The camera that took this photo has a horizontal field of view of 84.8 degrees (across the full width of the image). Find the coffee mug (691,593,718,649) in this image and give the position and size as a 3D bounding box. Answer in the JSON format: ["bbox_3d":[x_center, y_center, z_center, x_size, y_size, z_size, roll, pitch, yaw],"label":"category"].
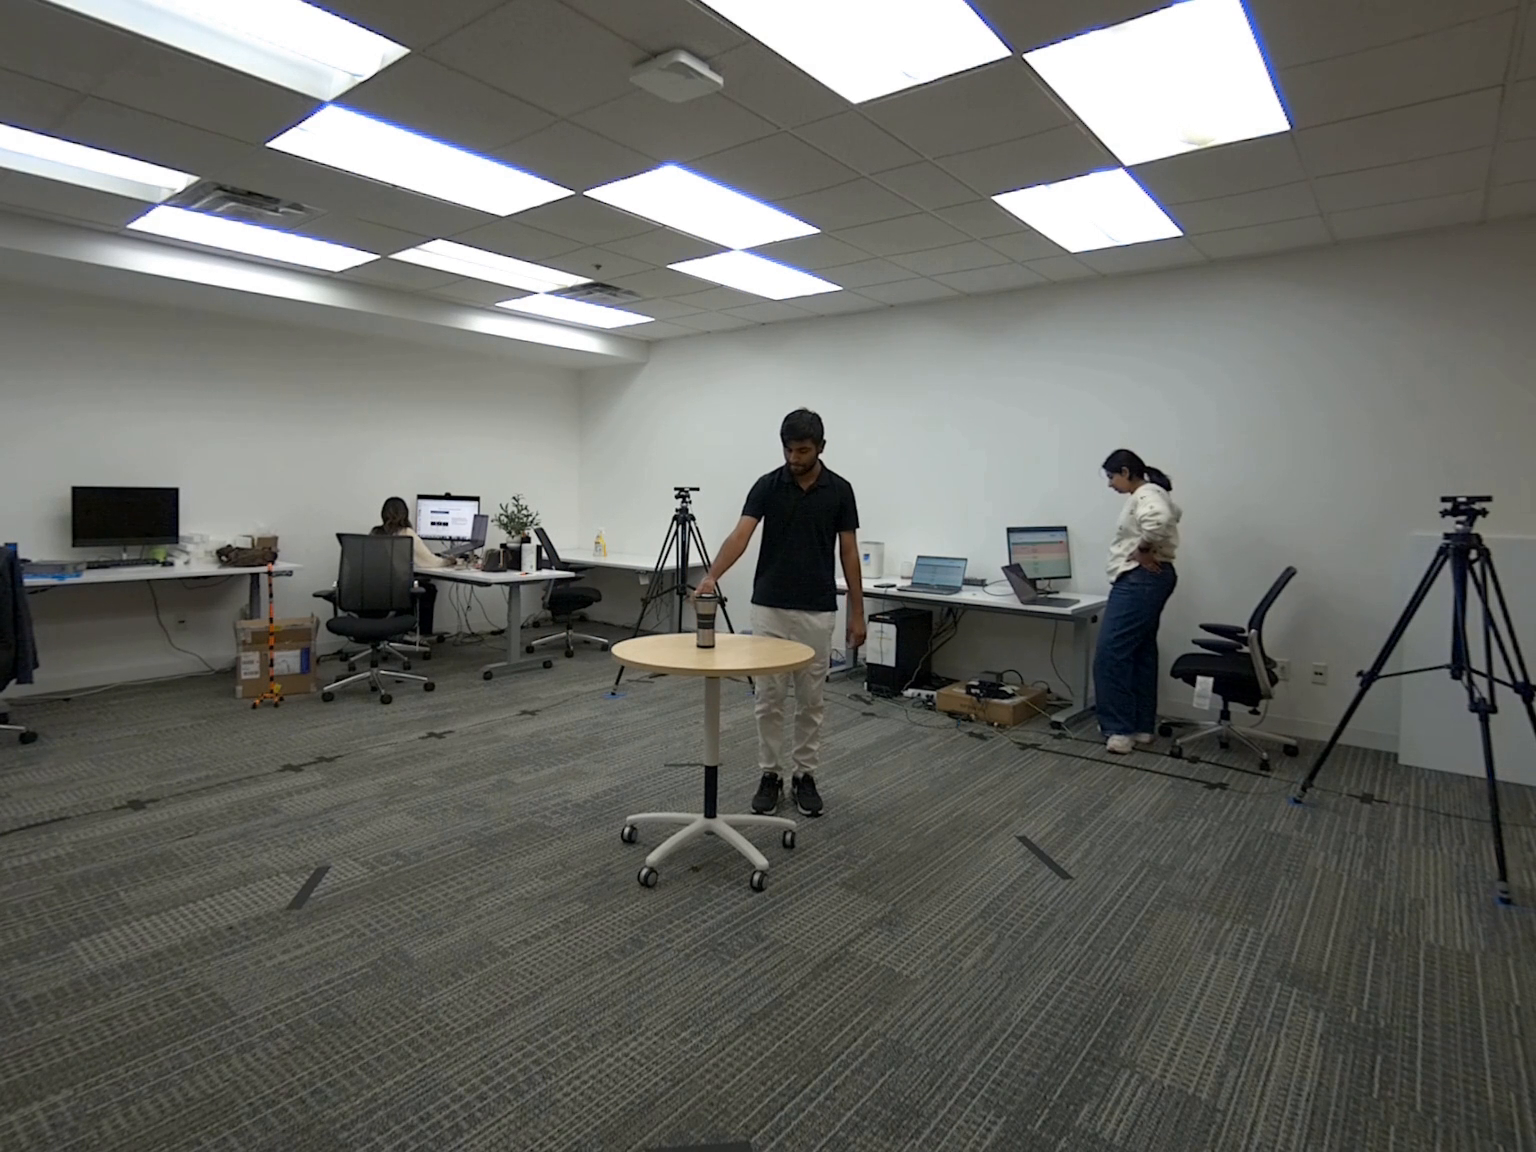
[{"bbox_3d":[-0.238,0.170,3.278,0.089,0.202,0.120,-3,4,15],"label":"coffee mug"}]
